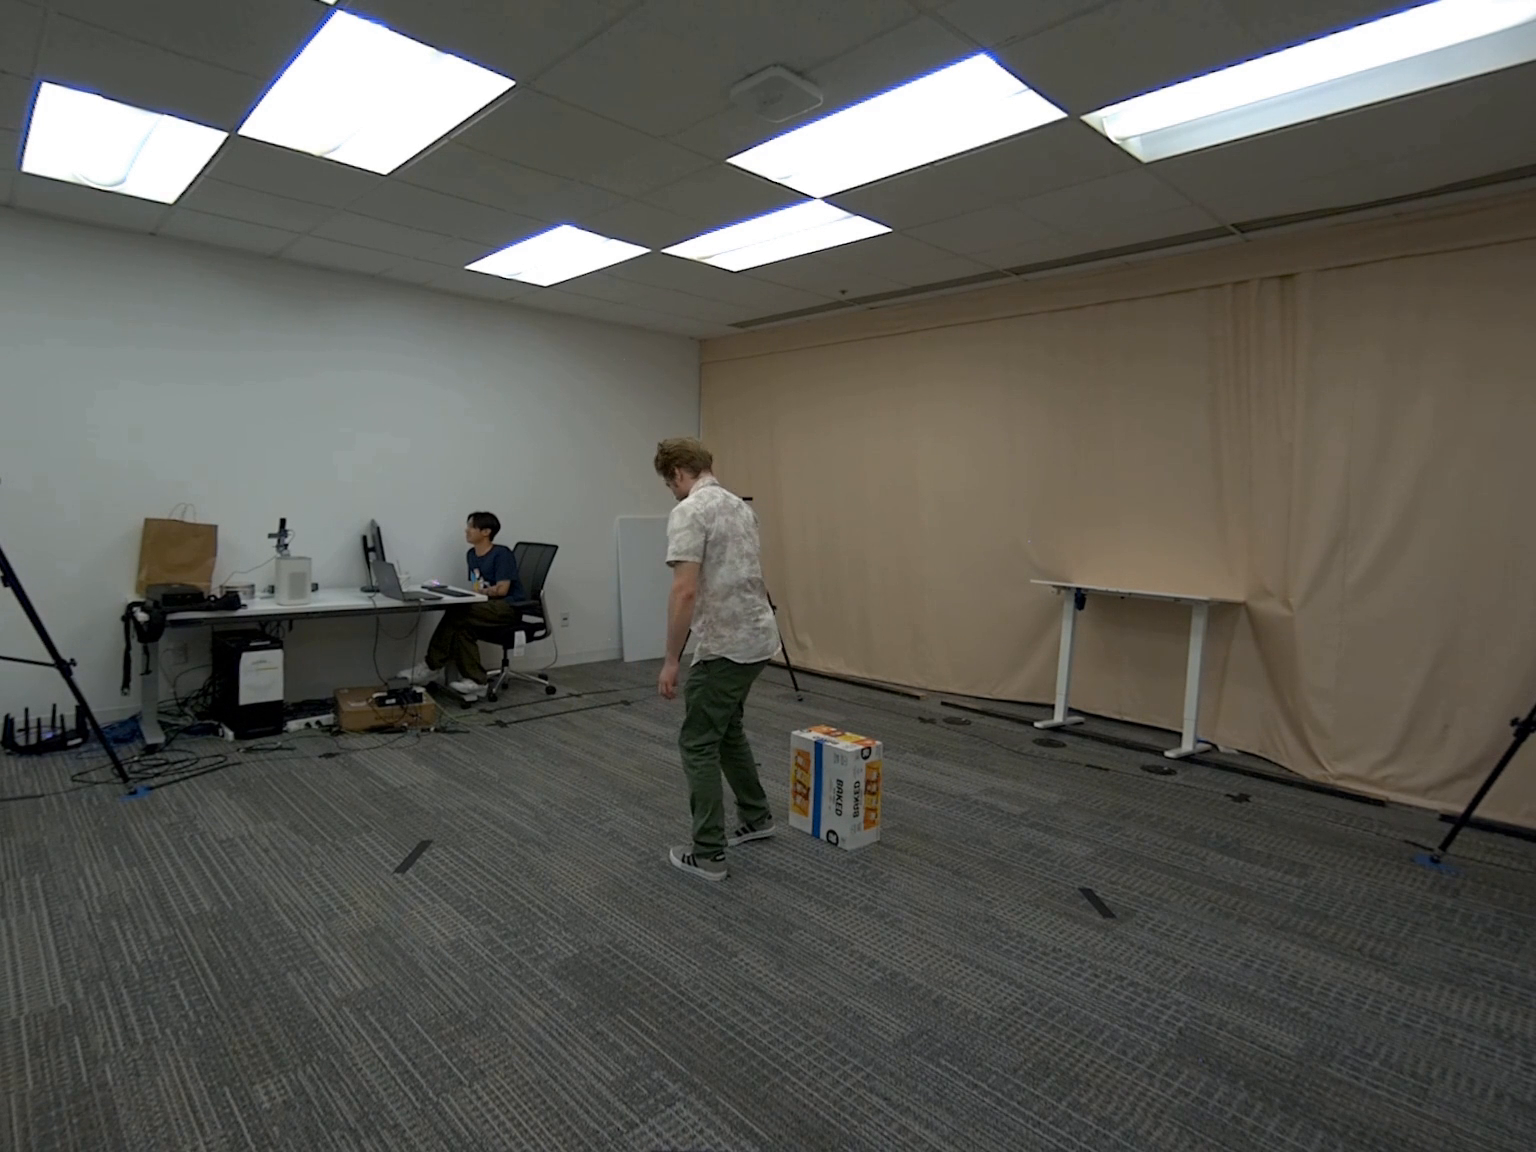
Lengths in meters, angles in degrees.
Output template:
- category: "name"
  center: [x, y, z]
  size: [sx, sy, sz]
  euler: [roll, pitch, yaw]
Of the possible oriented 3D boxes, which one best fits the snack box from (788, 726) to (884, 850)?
- category: "snack box"
  center: [0.276, 0.878, 3.538]
  size: [0.201, 0.404, 0.349]
  euler: [-1, 4, -41]
